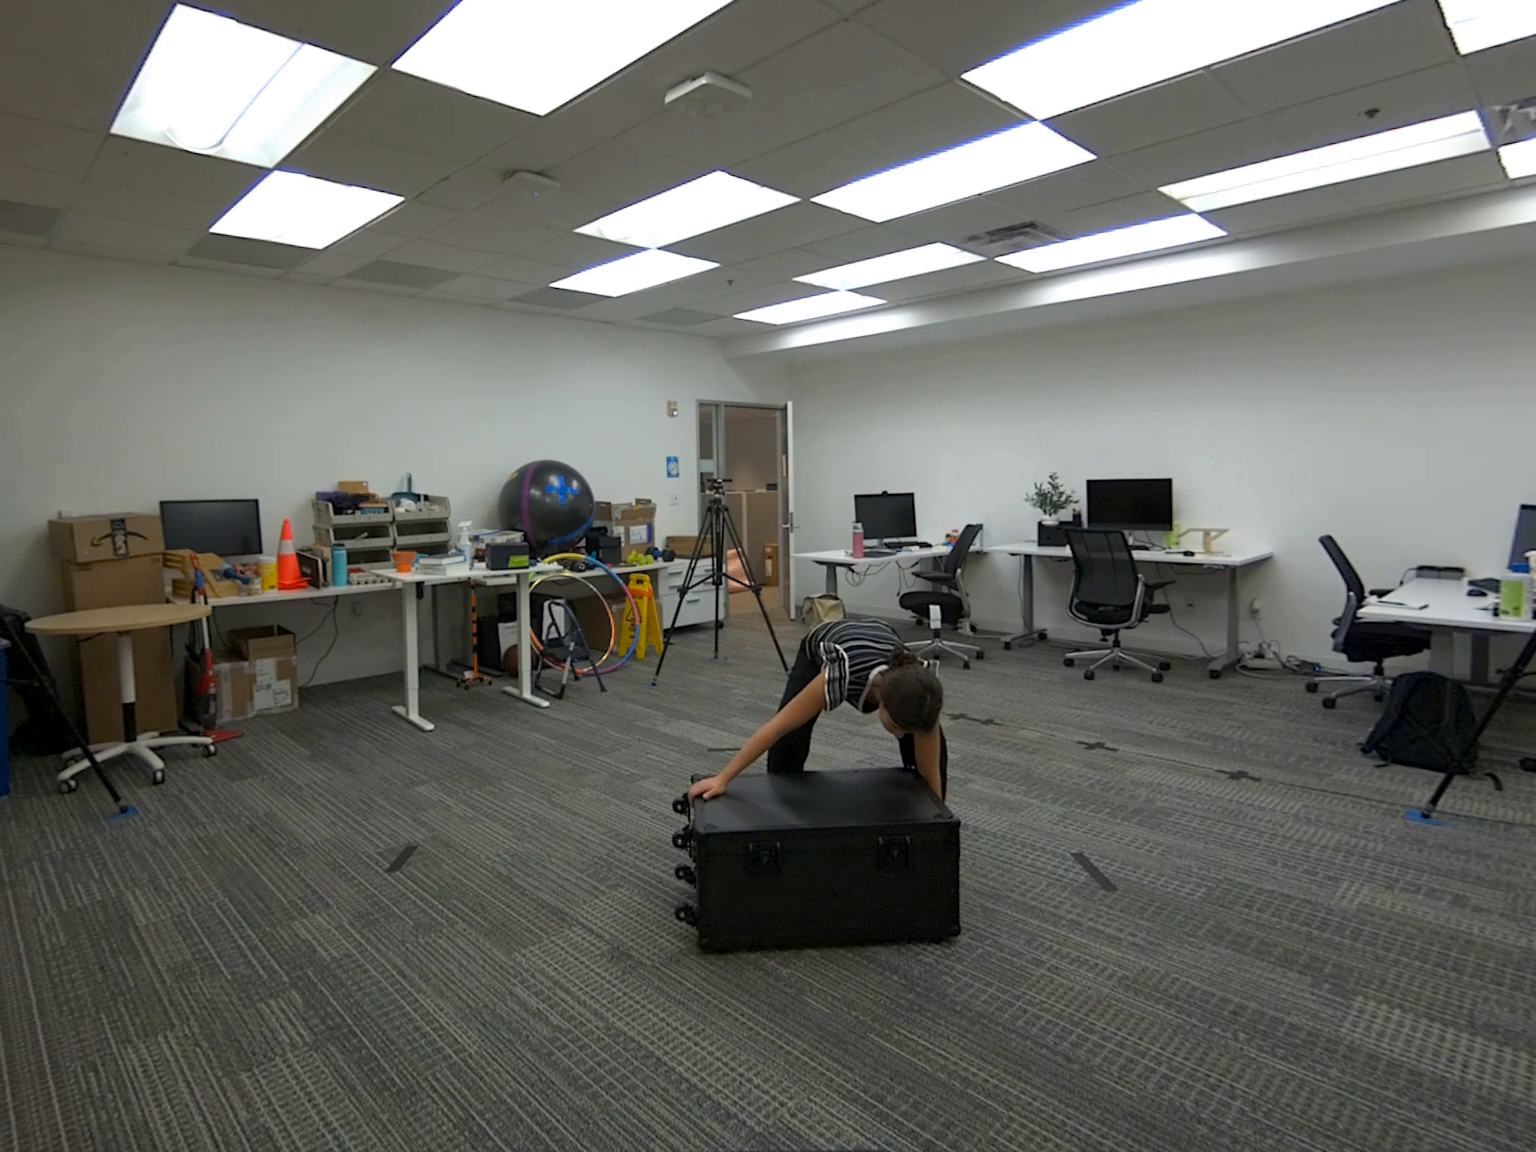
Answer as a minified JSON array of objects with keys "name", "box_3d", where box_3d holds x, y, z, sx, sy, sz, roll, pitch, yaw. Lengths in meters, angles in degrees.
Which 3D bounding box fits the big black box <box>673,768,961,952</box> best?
[{"name":"big black box","box_3d":[0.122,0.893,2.746,0.858,0.395,0.525,-1,5,-5]}]
